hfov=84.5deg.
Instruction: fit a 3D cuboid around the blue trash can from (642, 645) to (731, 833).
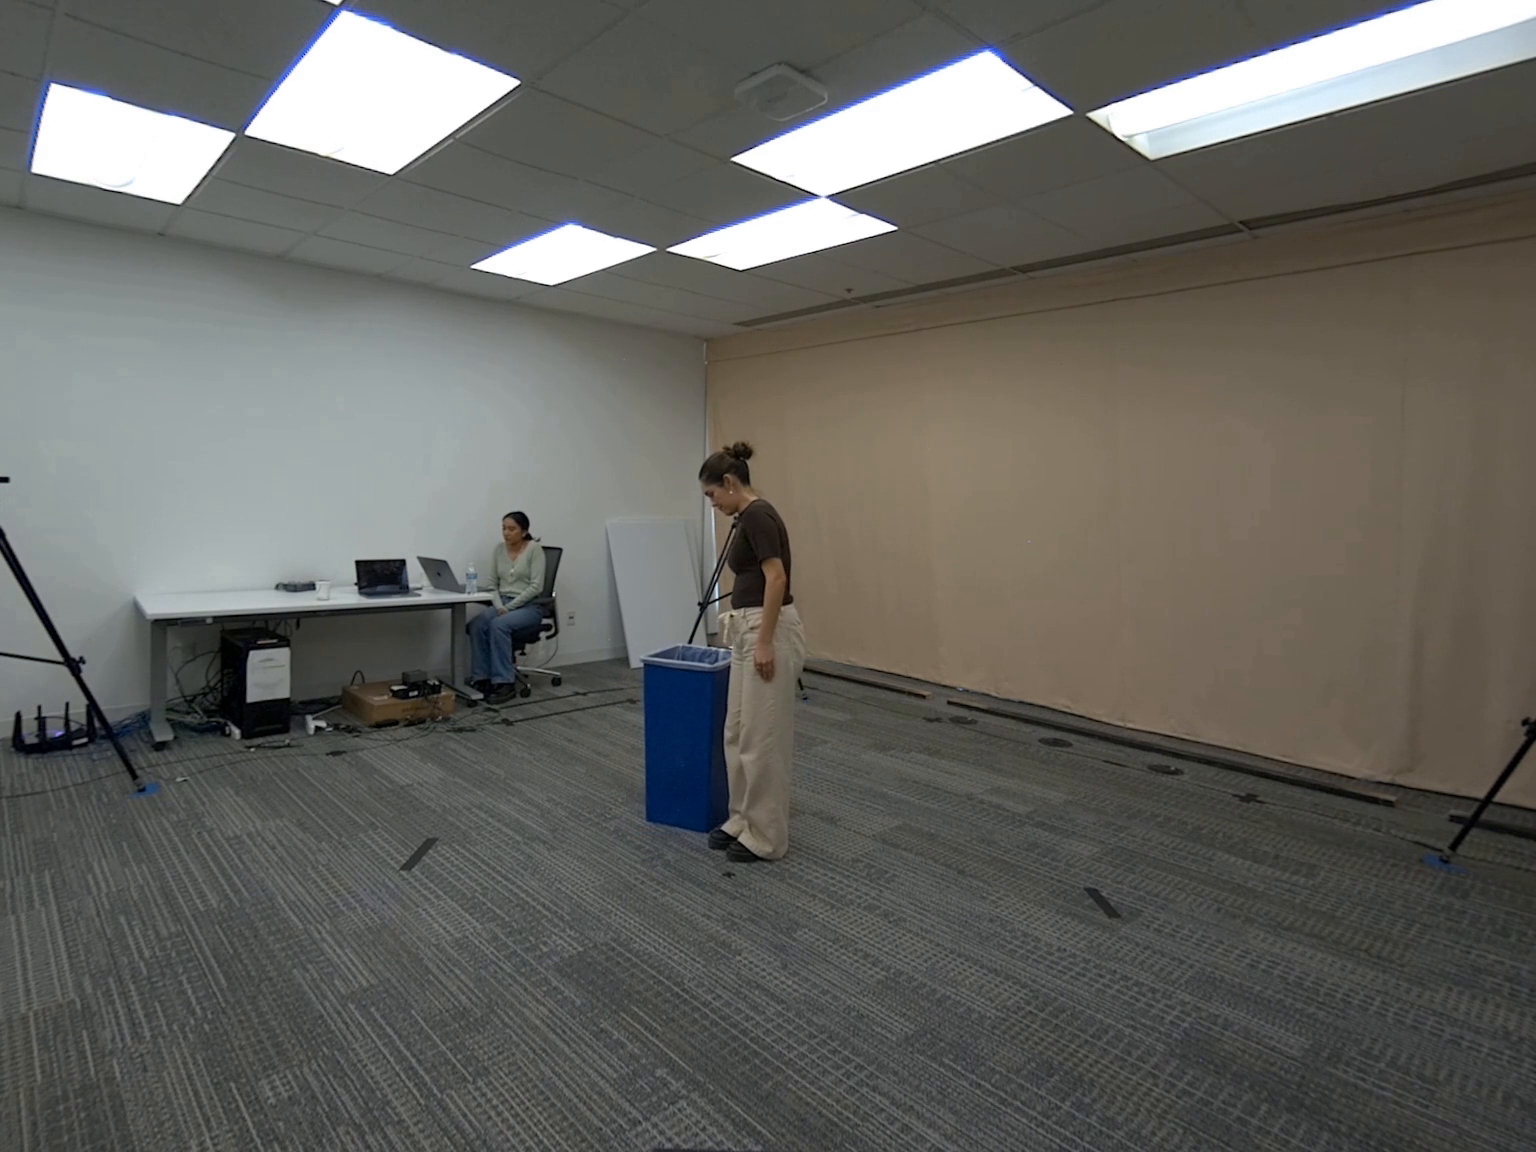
[{"bbox_3d":[-0.339,0.692,3.656,0.381,0.711,0.372,5,5,24],"label":"blue trash can"}]
